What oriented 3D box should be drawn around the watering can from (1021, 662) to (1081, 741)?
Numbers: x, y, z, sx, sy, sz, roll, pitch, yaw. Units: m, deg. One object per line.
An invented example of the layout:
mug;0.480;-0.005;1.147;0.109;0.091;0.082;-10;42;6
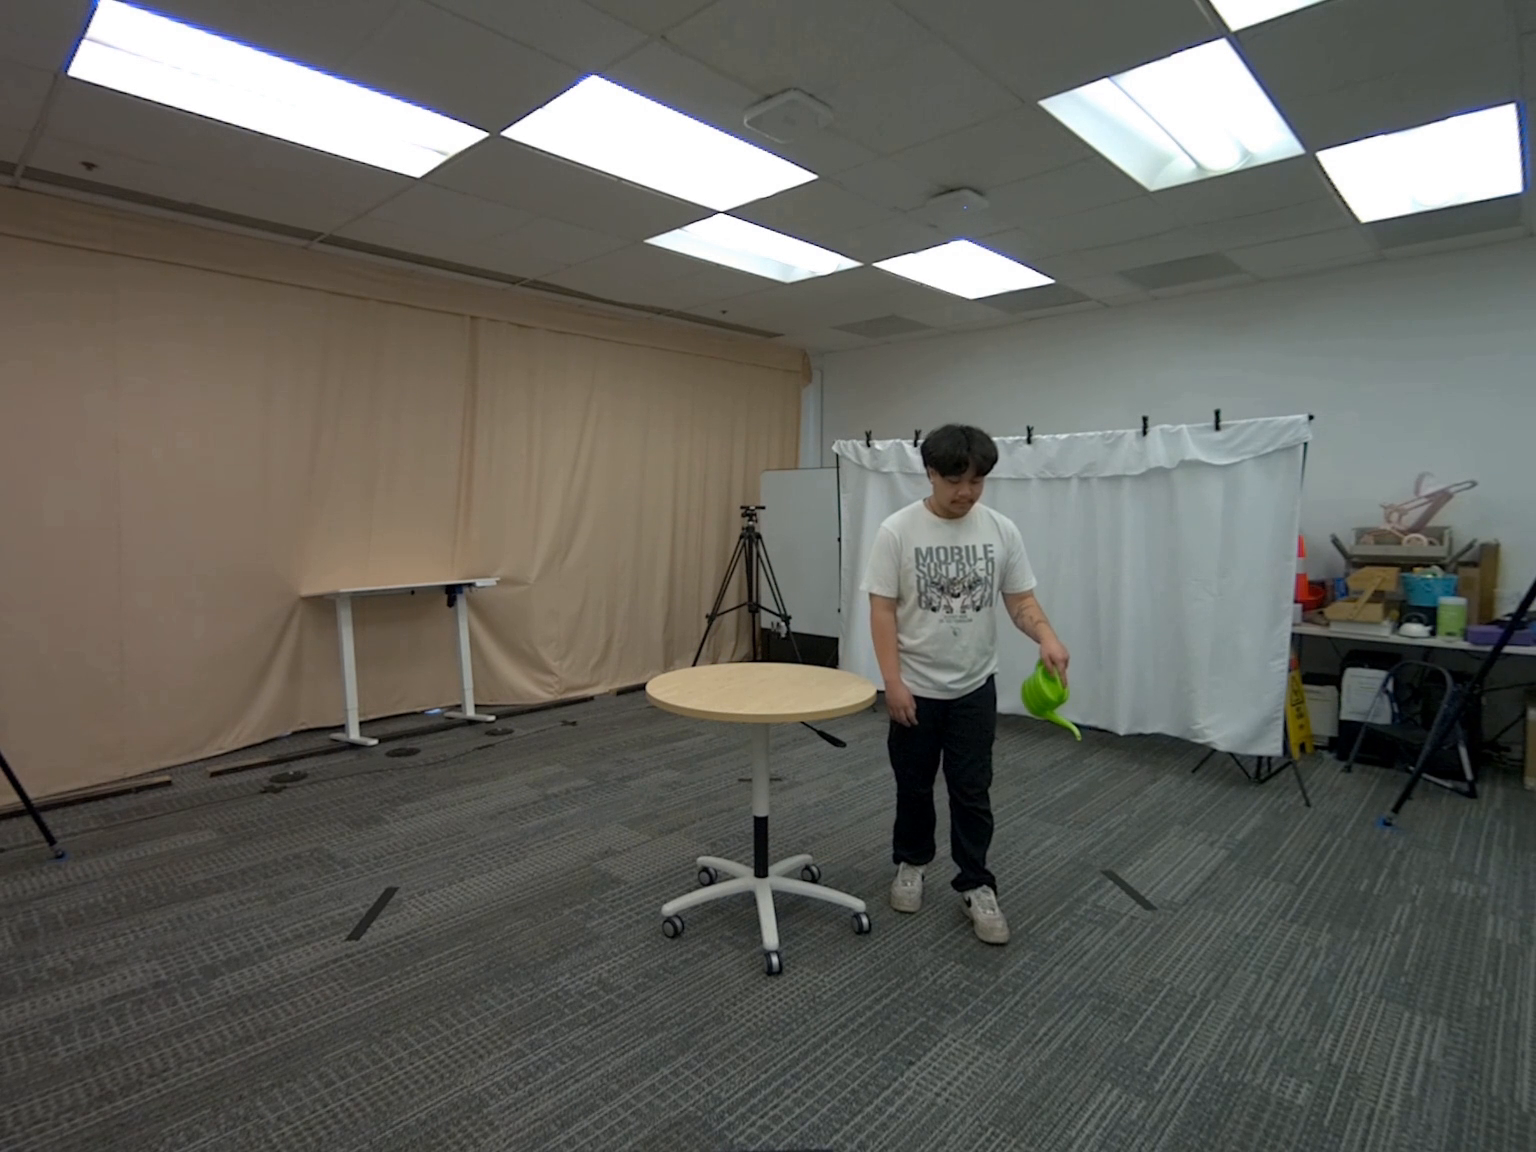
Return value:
watering can;0.858;0.383;2.567;0.098;0.282;0.175;7;-30;-4
